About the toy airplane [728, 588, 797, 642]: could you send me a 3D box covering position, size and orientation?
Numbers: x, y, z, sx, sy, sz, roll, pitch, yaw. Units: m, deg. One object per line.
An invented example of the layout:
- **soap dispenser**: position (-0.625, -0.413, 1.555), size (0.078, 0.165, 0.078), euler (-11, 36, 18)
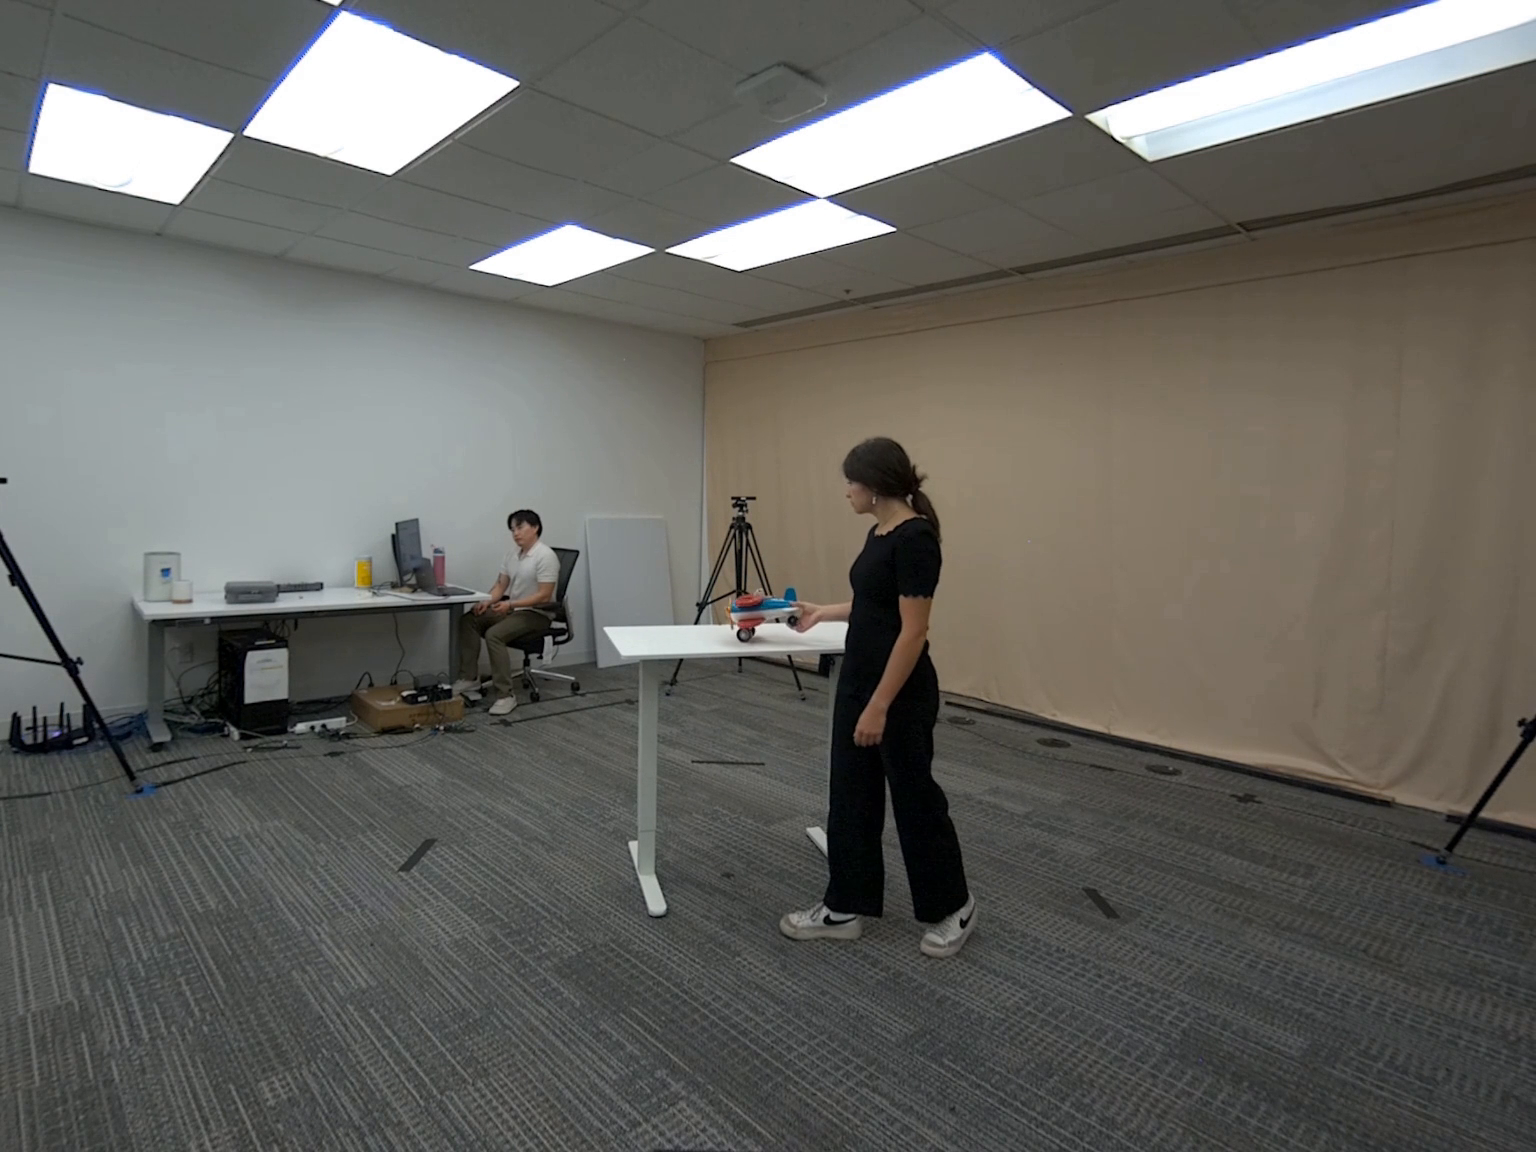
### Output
- **toy airplane**: position (-0.022, 0.131, 3.028), size (0.257, 0.156, 0.253), euler (-22, 2, -18)
